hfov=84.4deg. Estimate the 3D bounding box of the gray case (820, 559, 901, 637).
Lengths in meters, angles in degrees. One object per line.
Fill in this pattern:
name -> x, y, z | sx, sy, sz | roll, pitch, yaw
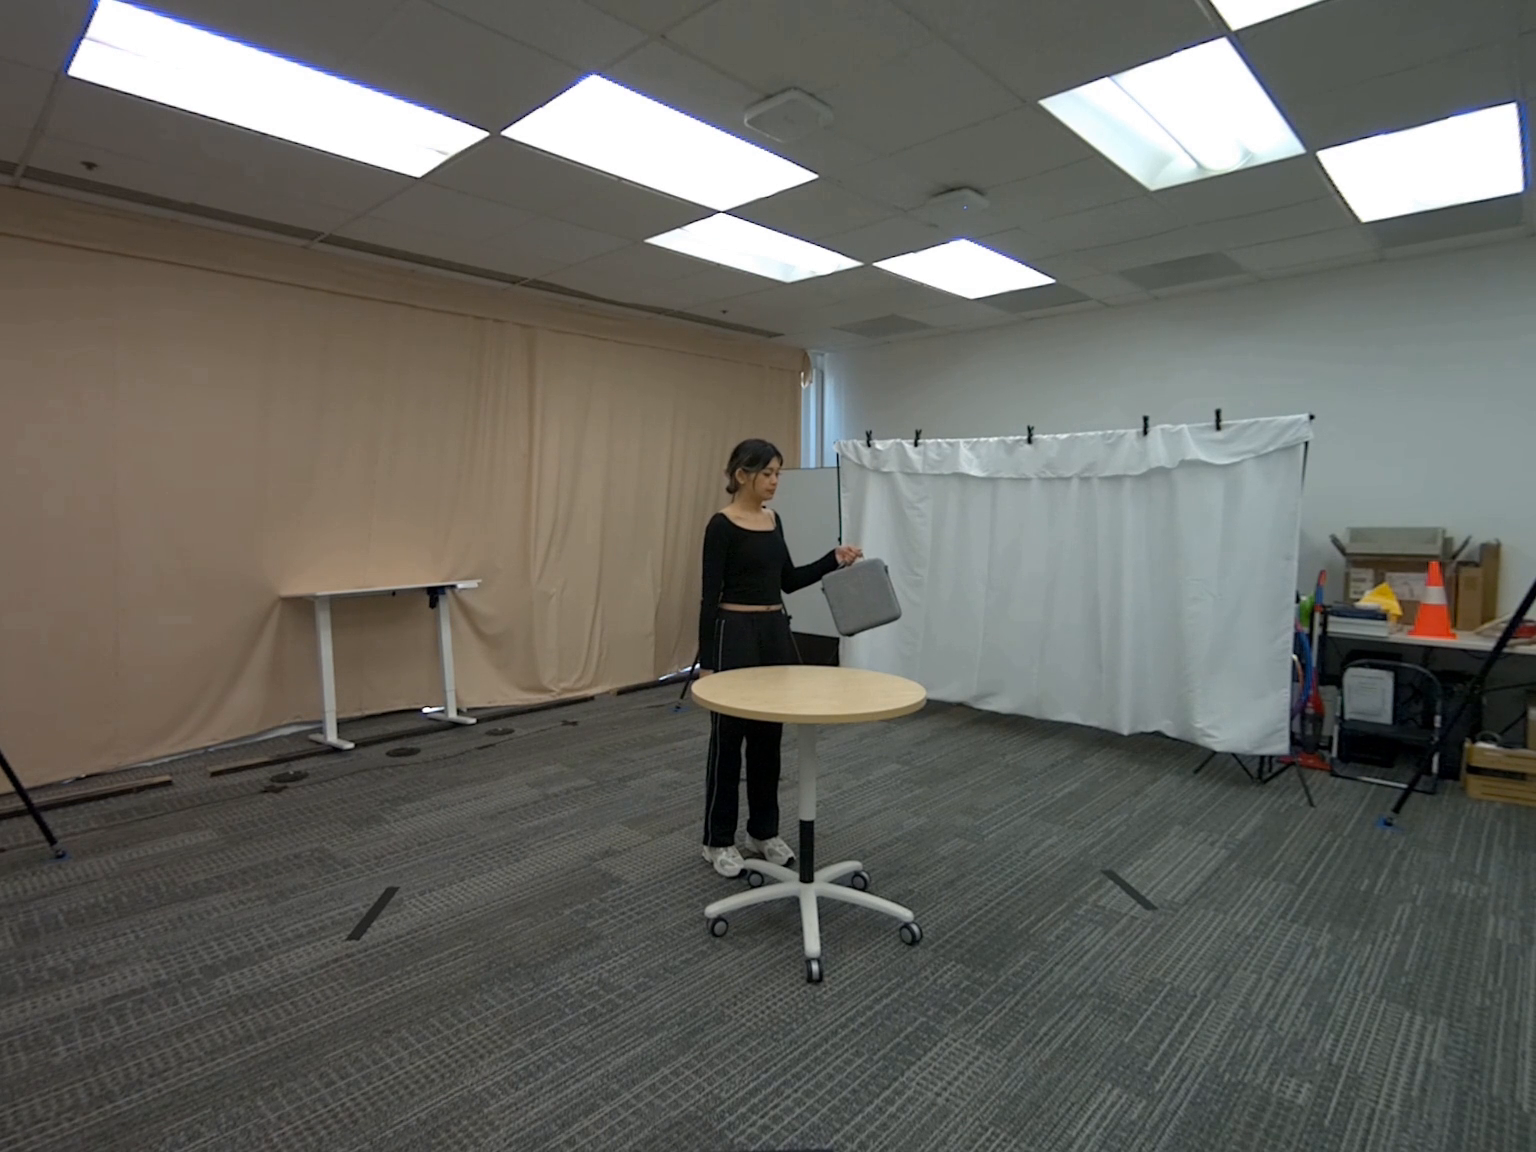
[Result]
gray case -> 0.370, 0.079, 3.271 | 0.259, 0.263, 0.102 | -21, -10, 13
